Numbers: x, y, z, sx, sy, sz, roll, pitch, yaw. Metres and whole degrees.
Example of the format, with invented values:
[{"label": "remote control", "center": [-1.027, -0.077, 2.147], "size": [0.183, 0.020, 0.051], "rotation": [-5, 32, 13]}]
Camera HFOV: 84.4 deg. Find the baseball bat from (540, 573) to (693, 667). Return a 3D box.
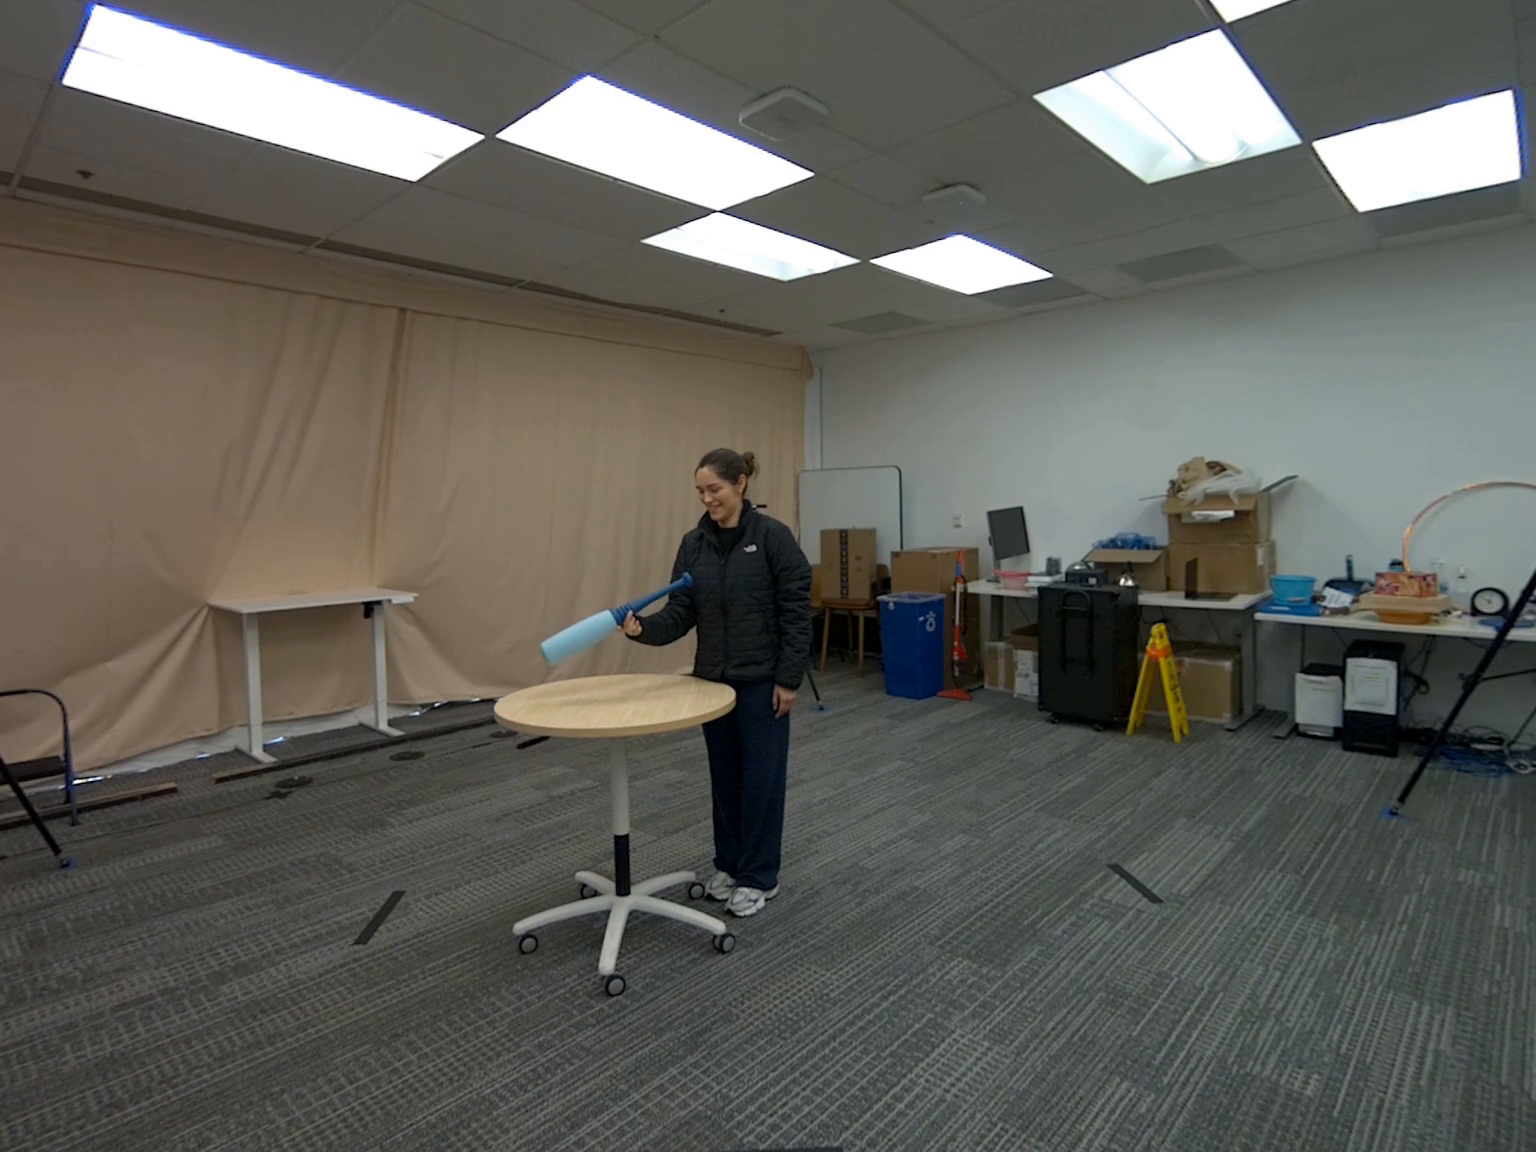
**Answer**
[{"label": "baseball bat", "center": [-0.462, 0.126, 2.725], "size": [0.540, 0.088, 0.090], "rotation": [-28, 9, -9]}]
